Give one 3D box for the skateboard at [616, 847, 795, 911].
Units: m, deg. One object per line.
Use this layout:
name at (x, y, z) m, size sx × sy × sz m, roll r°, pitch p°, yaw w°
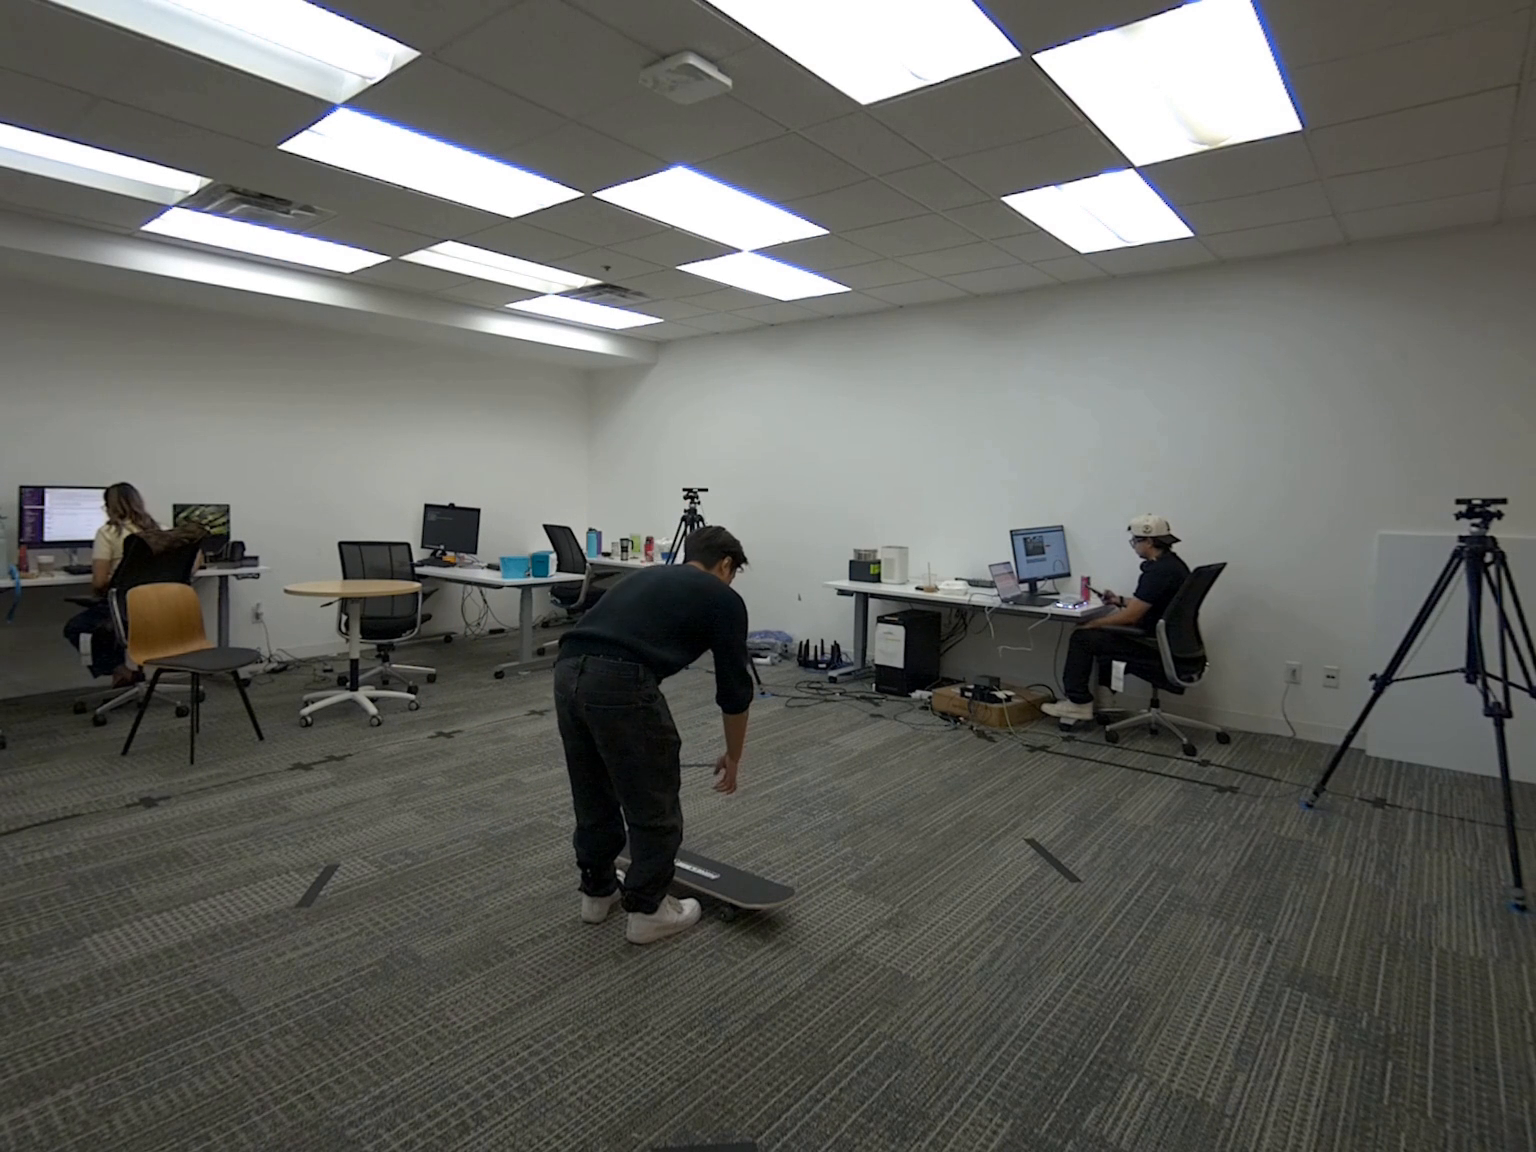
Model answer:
skateboard at (-0.268, 1.024, 2.909) m, size 0.811 × 0.110 × 0.188 m, roll 5°, pitch 6°, yaw 36°
